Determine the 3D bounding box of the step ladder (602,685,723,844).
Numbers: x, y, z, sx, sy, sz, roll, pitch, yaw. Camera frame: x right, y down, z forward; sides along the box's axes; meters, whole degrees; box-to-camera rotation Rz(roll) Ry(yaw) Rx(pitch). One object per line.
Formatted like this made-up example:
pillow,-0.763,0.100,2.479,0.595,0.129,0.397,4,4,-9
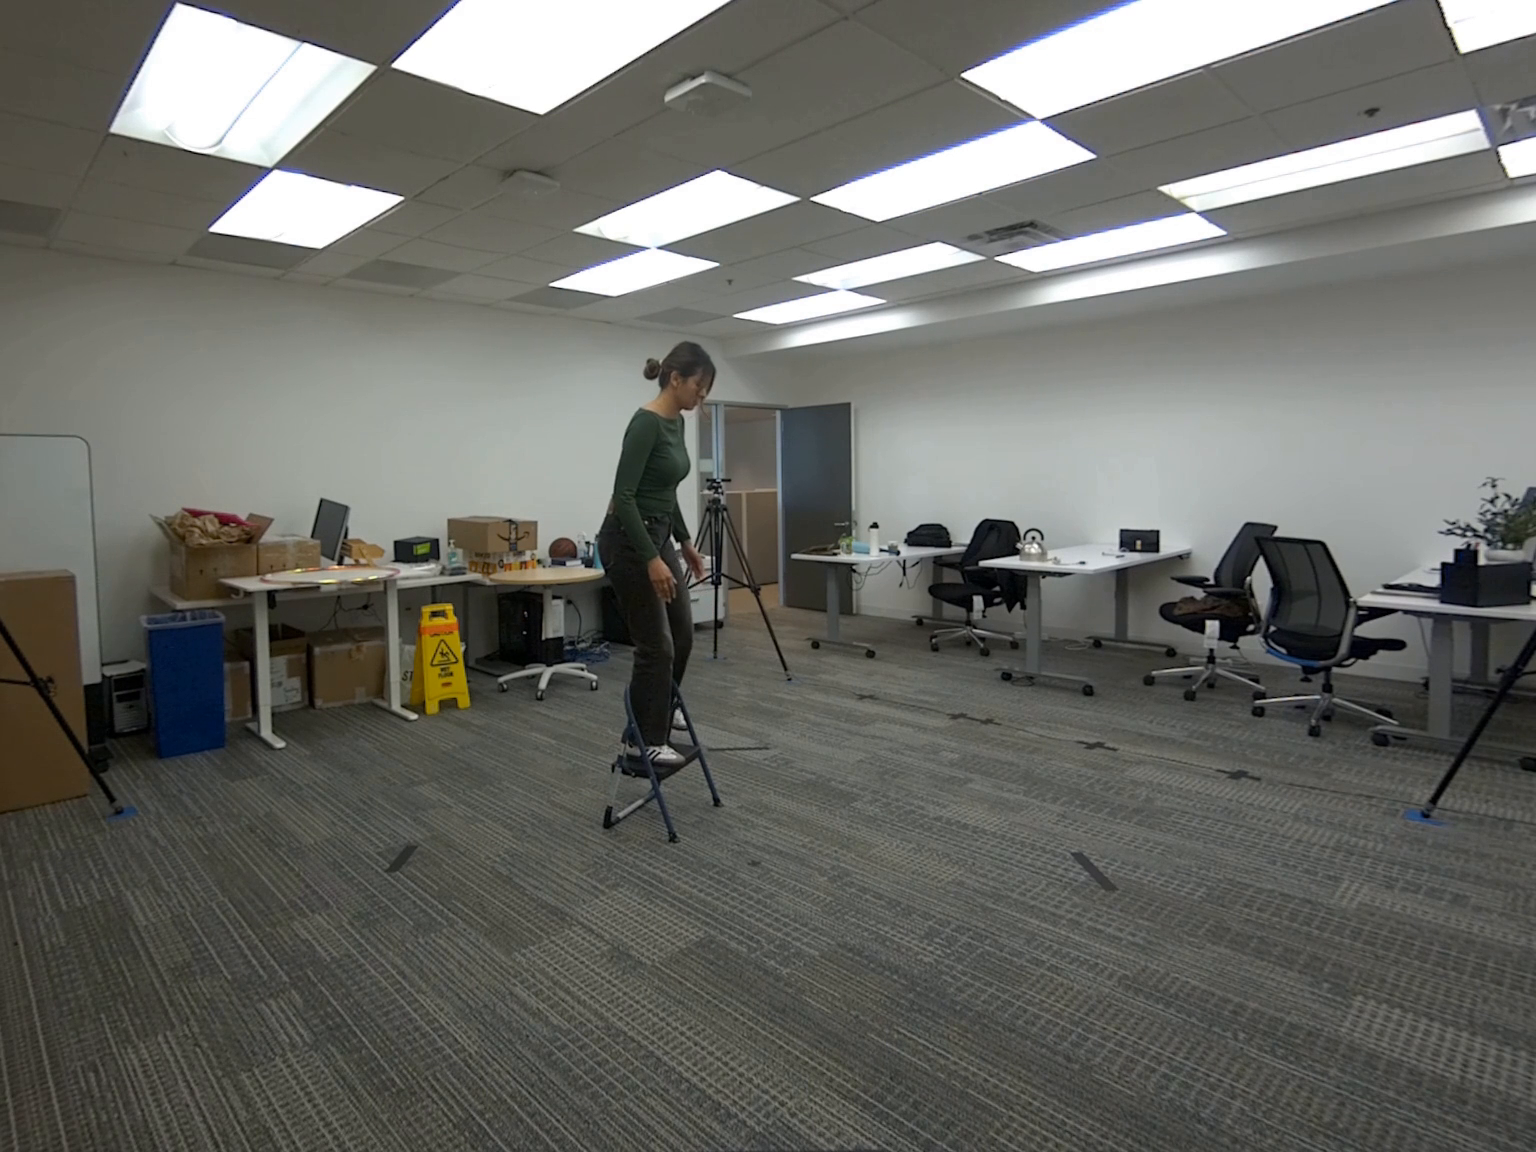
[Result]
step ladder,-0.439,0.705,3.536,0.357,0.604,0.423,0,5,23
